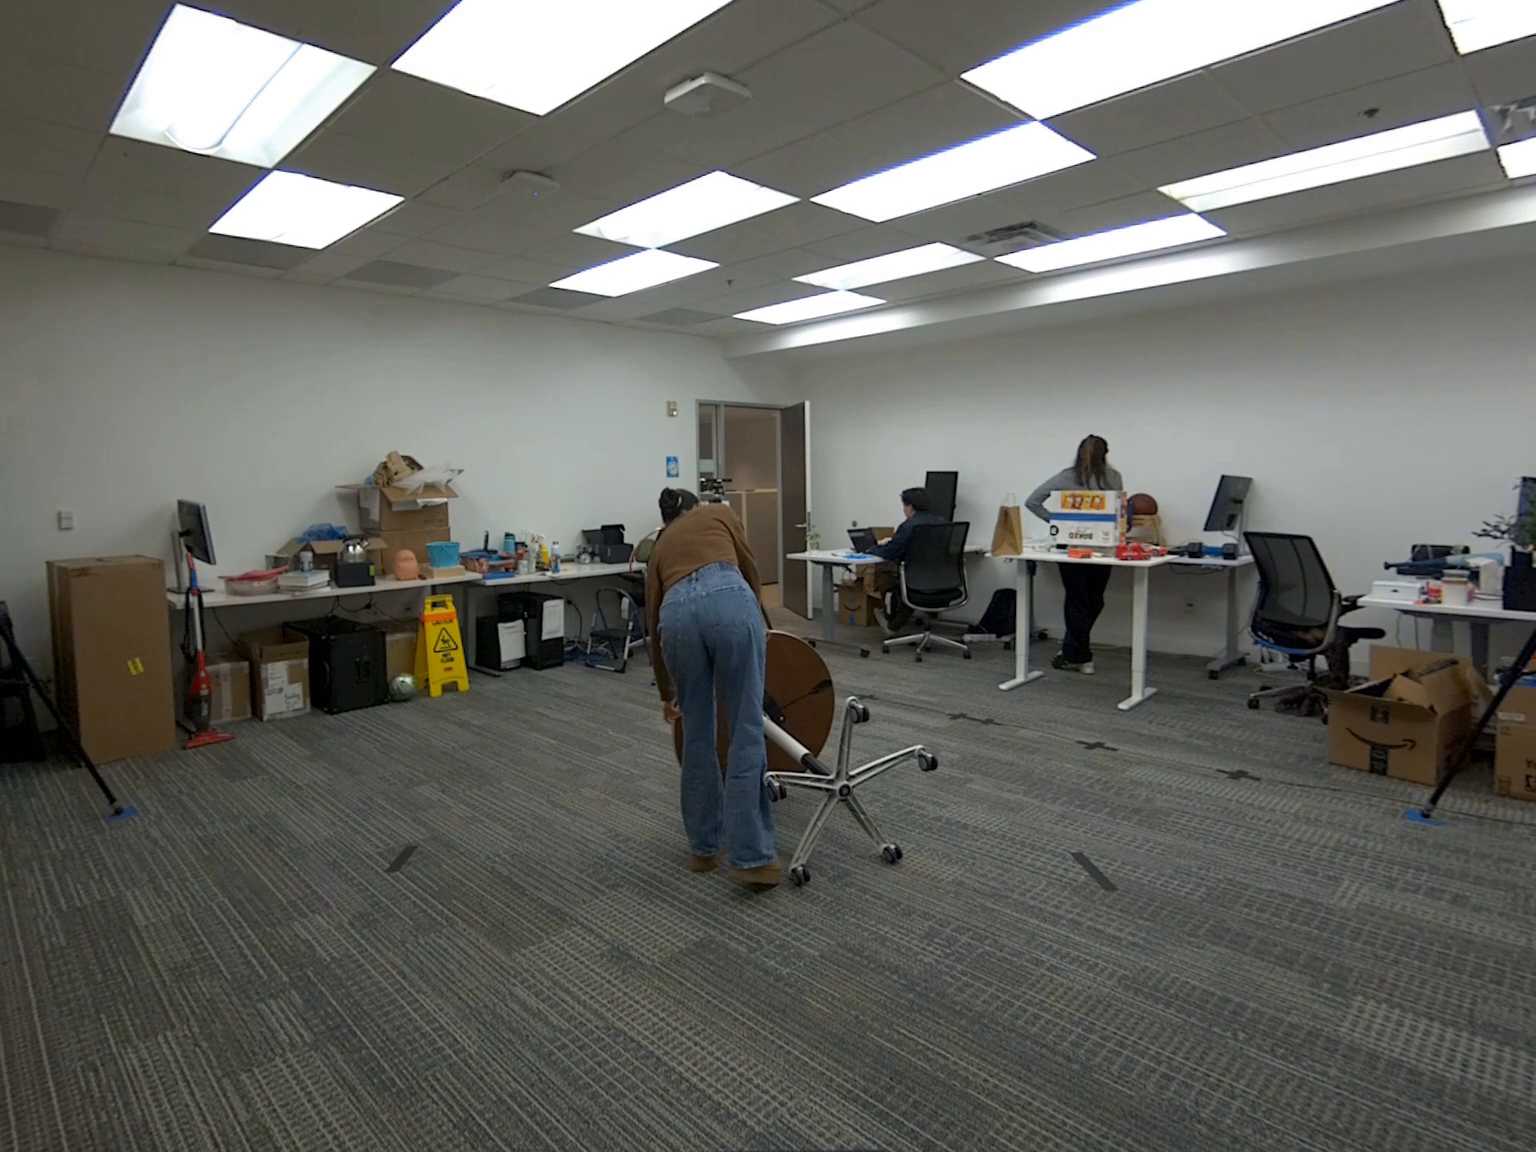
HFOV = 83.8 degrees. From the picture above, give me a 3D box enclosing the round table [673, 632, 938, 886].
[{"bbox_3d":[0.131,0.689,3.302,0.748,0.757,0.819,-3,13,-26],"label":"round table"}]
